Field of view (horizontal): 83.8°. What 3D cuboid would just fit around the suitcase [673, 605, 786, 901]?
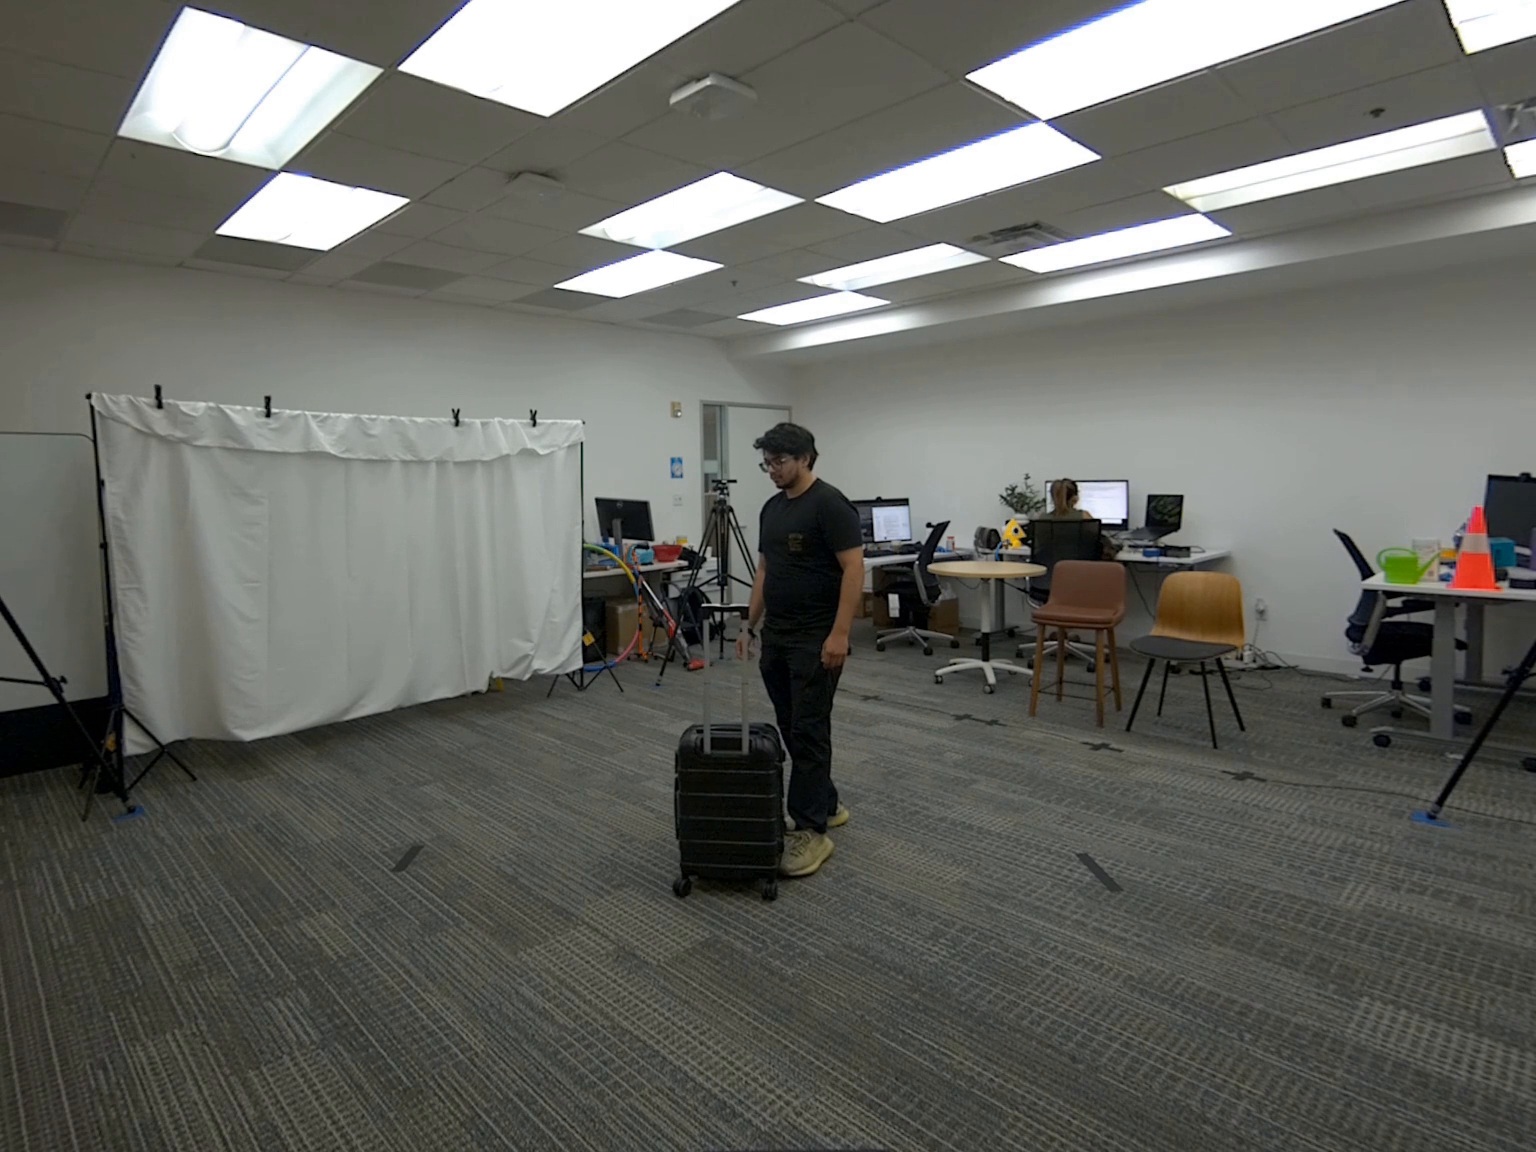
[{"bbox_3d":[-0.133,0.585,2.968,0.387,0.978,0.255,-1,1,7],"label":"suitcase"}]
